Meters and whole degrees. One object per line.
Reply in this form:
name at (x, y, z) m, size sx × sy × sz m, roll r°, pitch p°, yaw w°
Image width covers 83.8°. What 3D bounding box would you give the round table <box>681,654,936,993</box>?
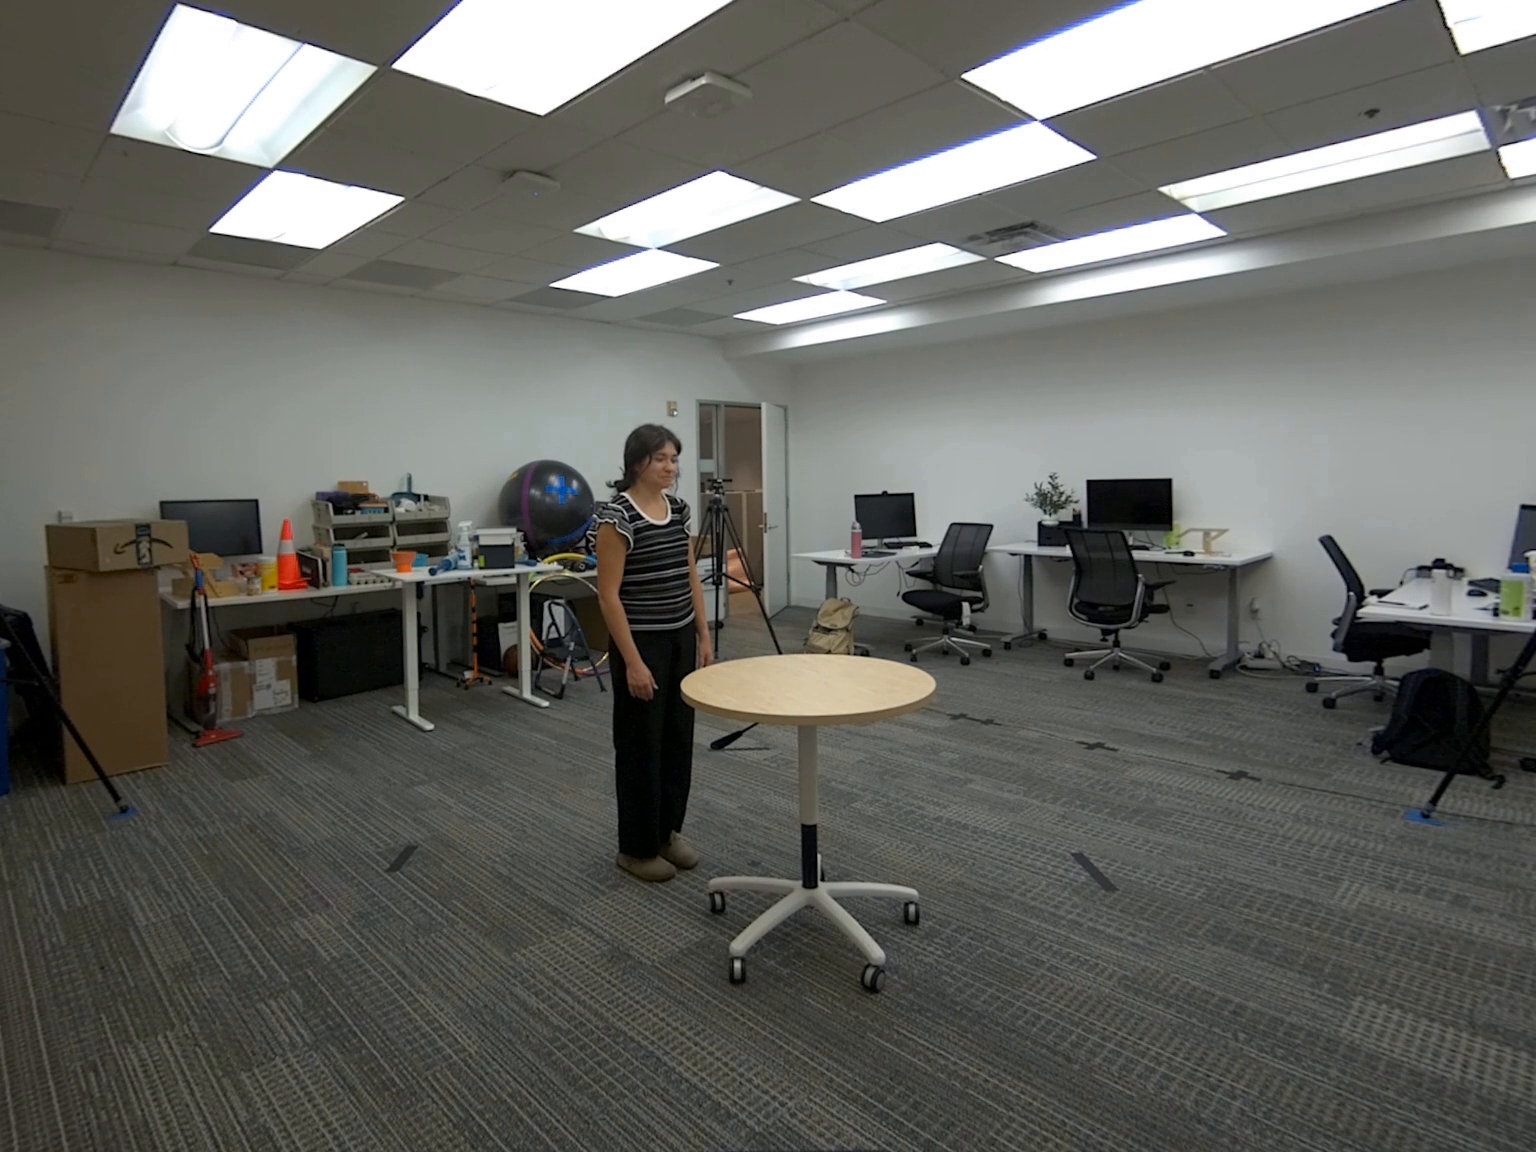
round table at (0.133, 0.711, 2.615) m, size 0.763 × 0.791 × 0.768 m, roll -2°, pitch 5°, yaw -2°
